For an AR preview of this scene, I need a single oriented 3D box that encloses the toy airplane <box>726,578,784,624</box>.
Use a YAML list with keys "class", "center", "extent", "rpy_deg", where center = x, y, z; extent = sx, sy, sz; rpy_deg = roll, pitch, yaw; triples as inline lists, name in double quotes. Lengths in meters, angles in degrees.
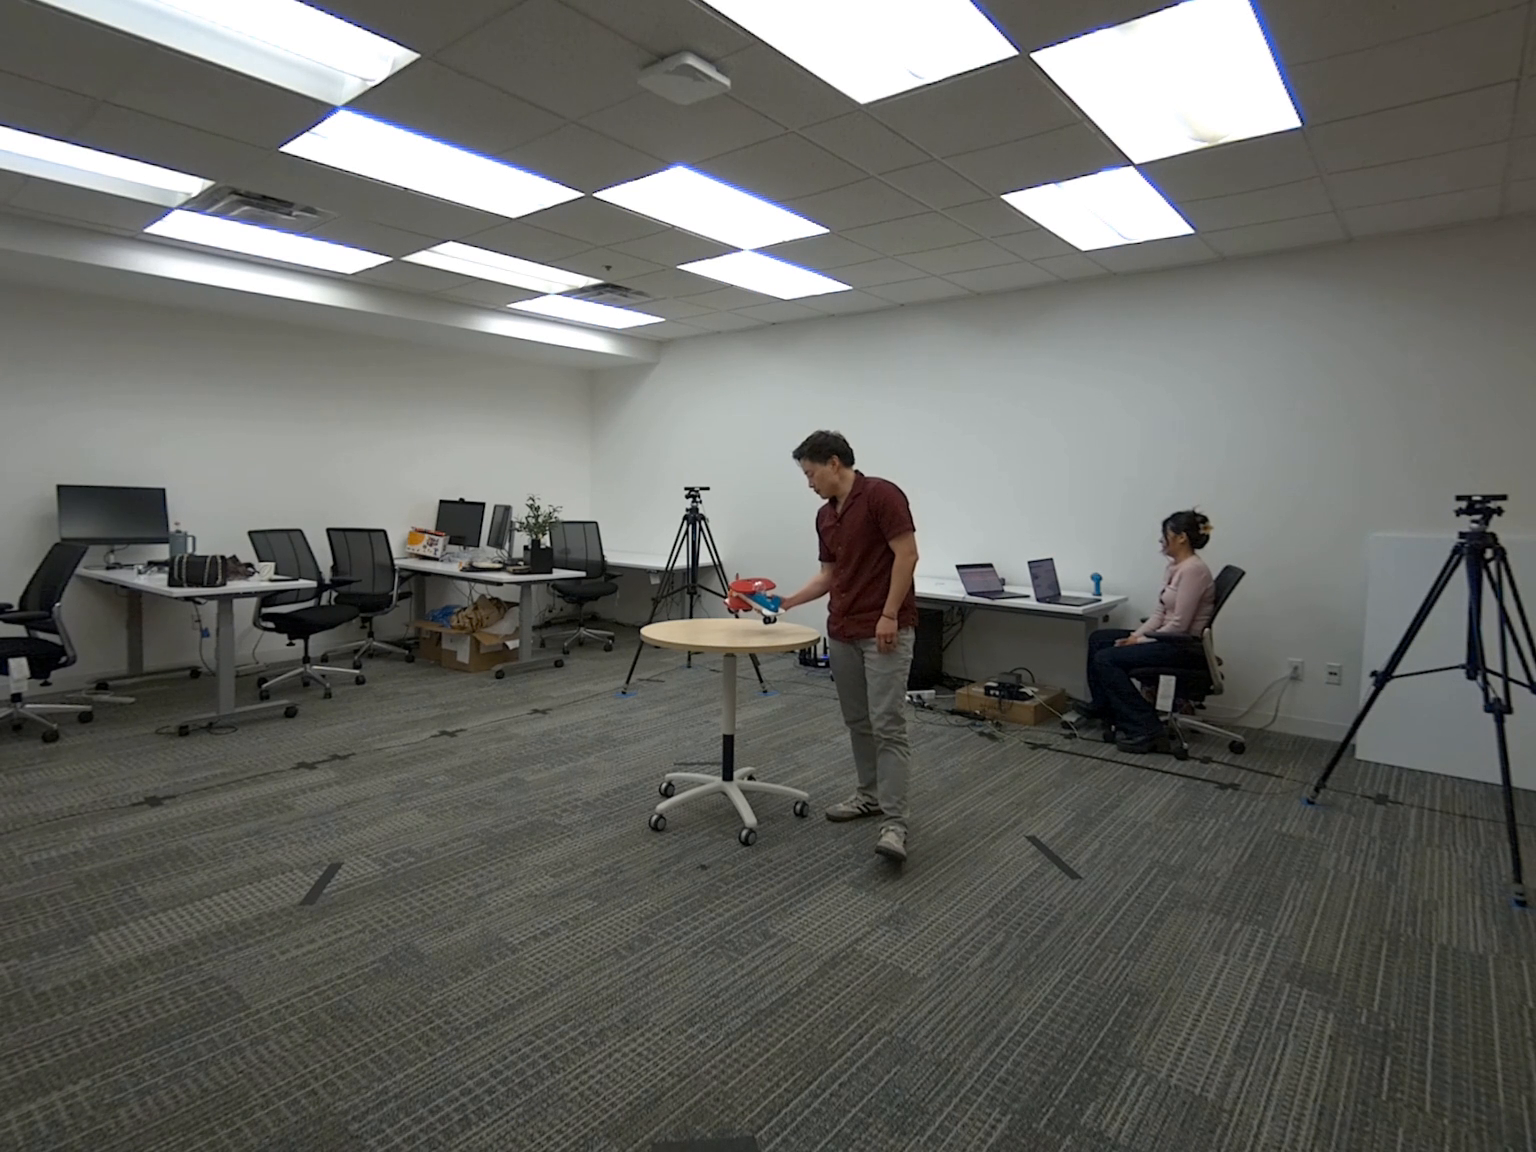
- class: "toy airplane"
  center: [-0.051, 0.097, 3.613]
  extent: [0.264, 0.155, 0.248]
  rpy_deg: [9, 12, 16]
